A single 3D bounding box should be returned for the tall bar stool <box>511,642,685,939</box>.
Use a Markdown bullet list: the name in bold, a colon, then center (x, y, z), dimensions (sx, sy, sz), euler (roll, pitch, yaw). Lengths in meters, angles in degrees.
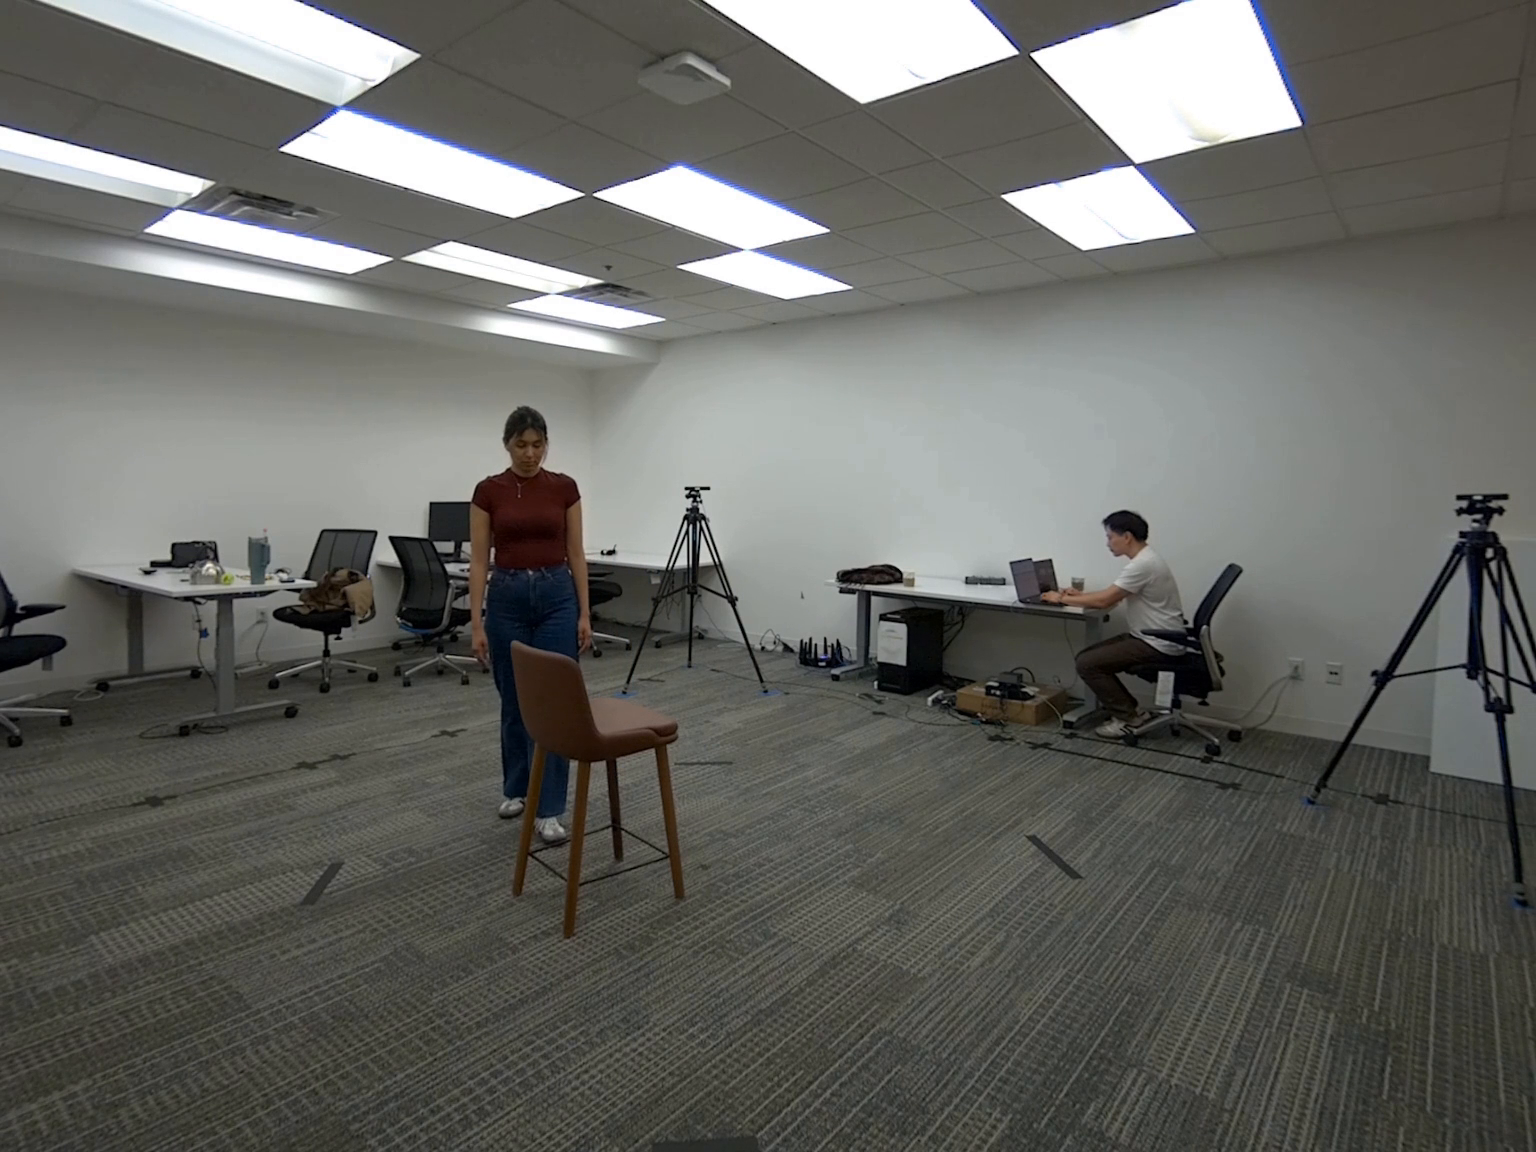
- **tall bar stool**: center (-0.589, 0.650, 2.868), dimensions (0.454, 0.886, 0.472), euler (-4, 6, -42)
